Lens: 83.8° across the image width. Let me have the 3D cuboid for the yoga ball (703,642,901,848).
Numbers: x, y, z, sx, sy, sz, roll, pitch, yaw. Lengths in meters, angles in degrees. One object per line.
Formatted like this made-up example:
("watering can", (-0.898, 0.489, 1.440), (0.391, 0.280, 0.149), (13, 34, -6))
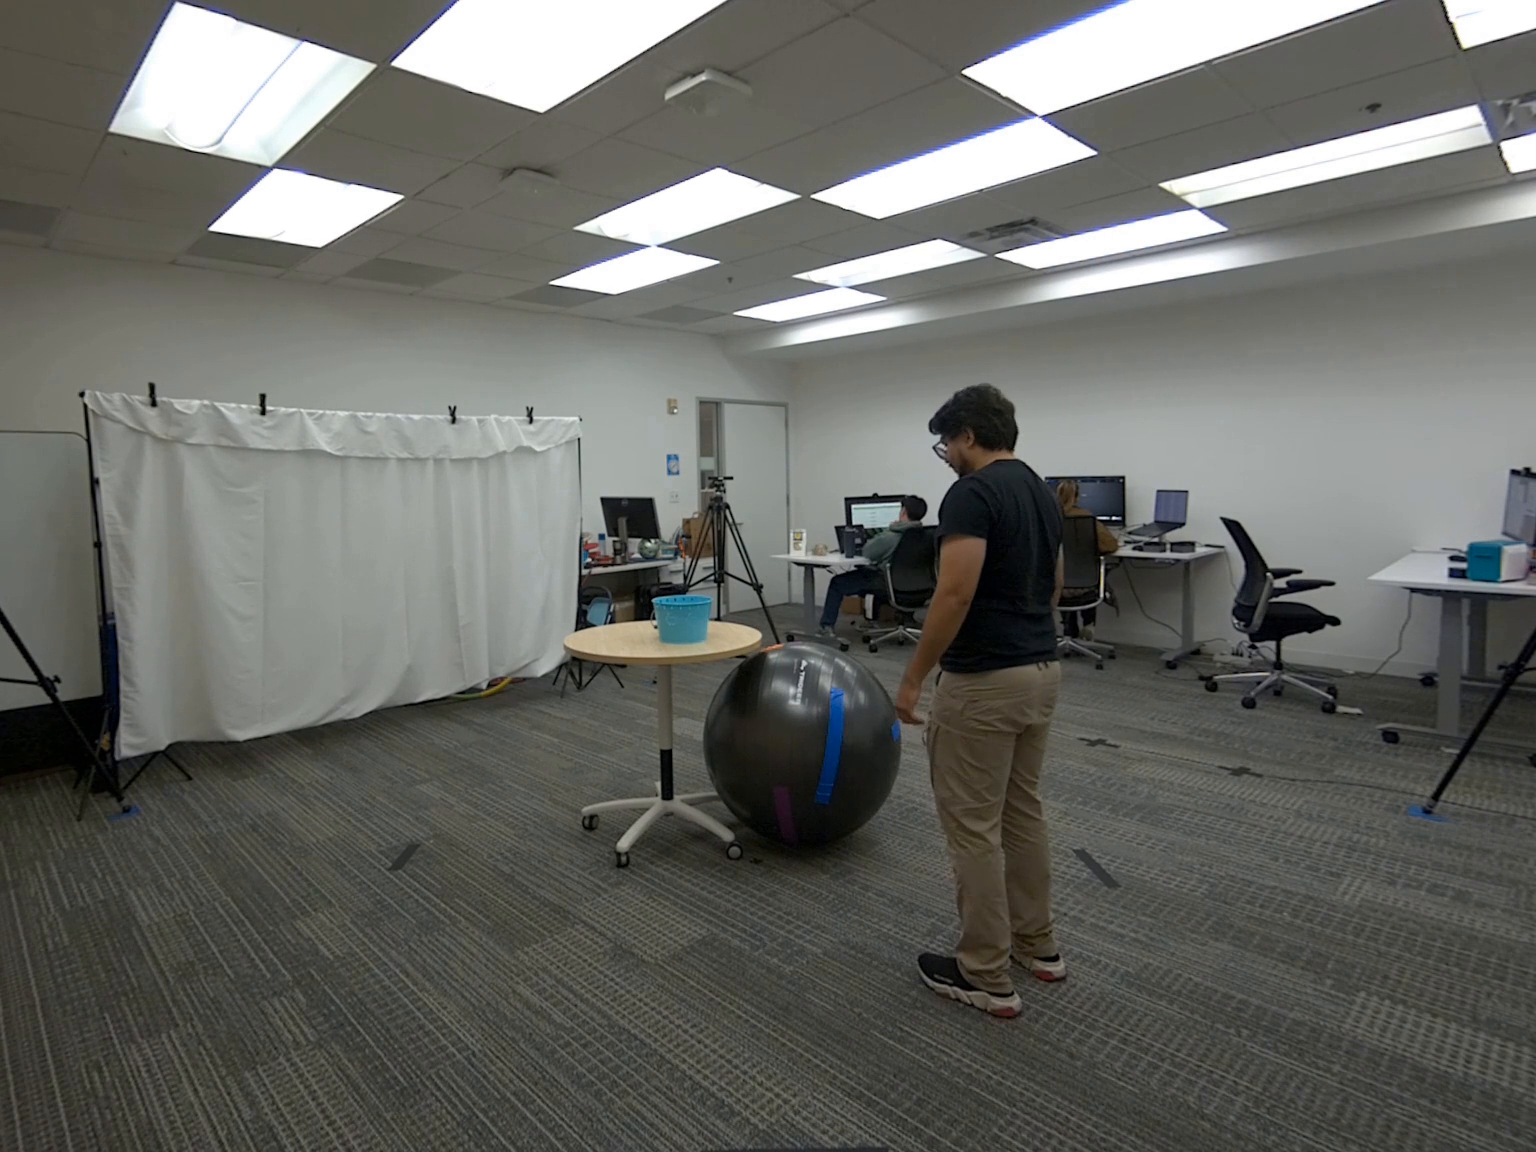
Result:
("yoga ball", (0.136, 0.644, 3.305), (0.757, 0.755, 0.762), (-1, 5, -2))
